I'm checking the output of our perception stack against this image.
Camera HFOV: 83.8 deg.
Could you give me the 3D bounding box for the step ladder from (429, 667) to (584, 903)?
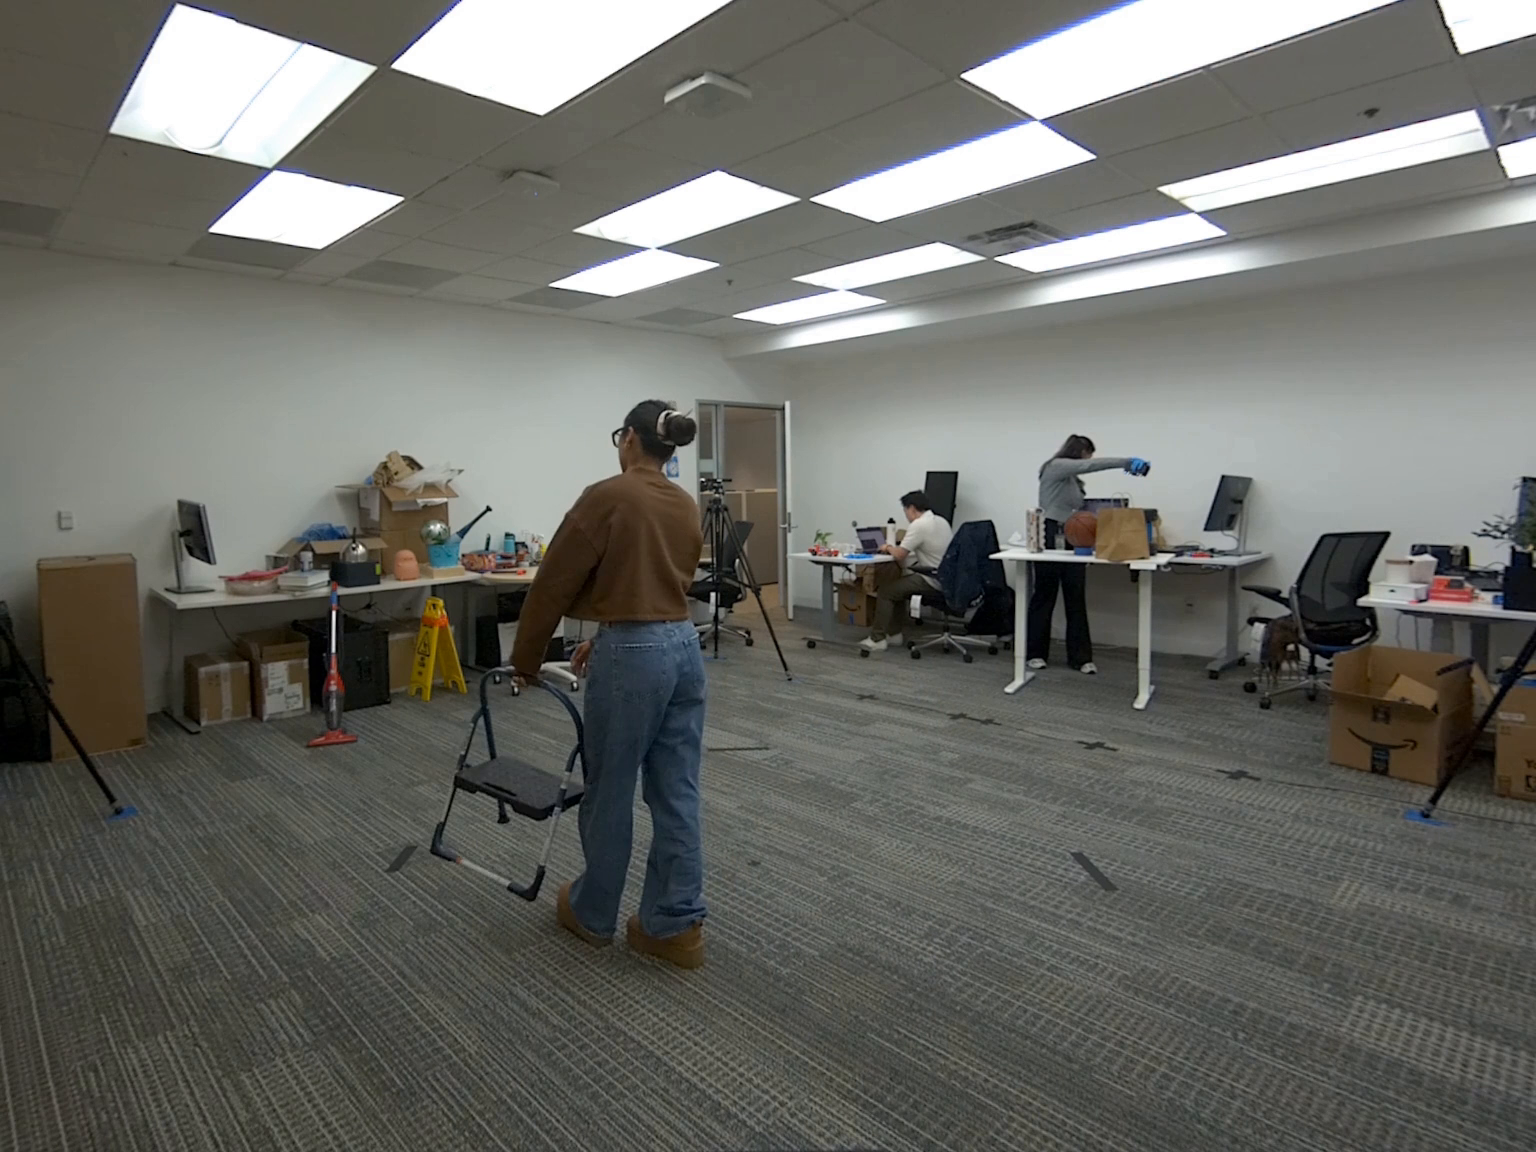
[{"bbox_3d":[-0.738,0.592,2.641,0.442,0.604,0.341,12,6,25],"label":"step ladder"}]
